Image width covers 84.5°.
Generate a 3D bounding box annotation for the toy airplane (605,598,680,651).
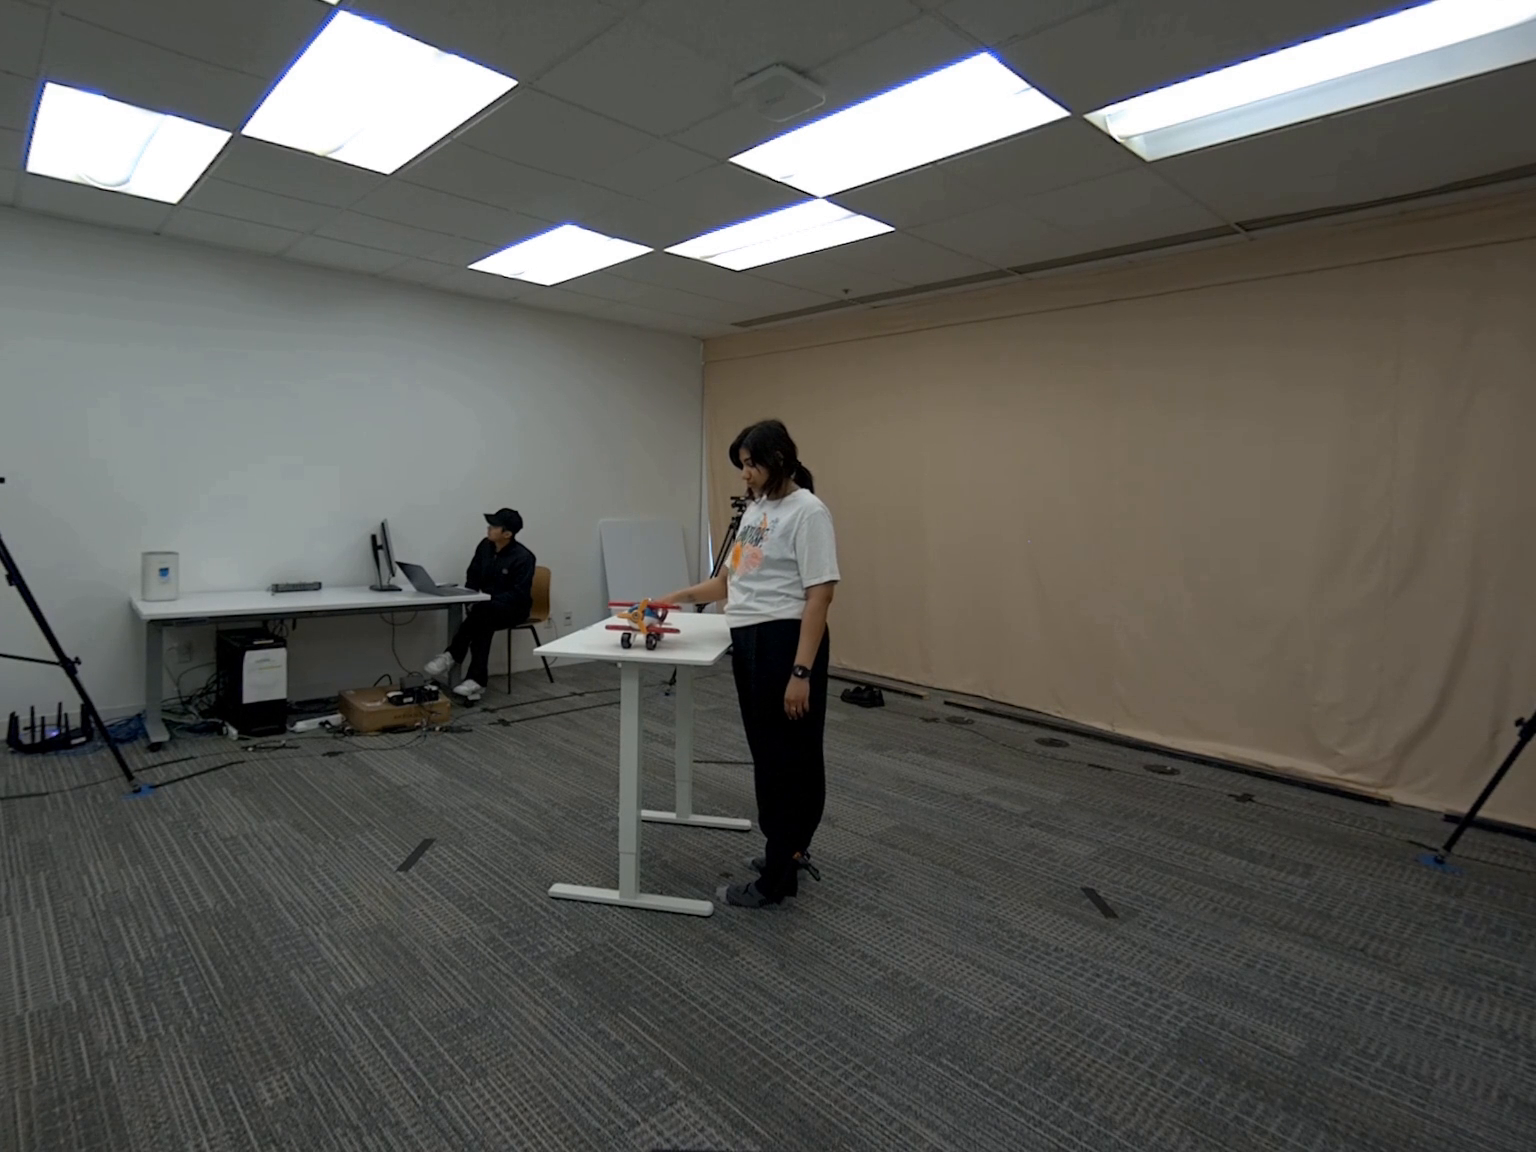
[{"bbox_3d":[-0.440,0.161,2.886,0.248,0.156,0.263,-1,6,-17],"label":"toy airplane"}]
